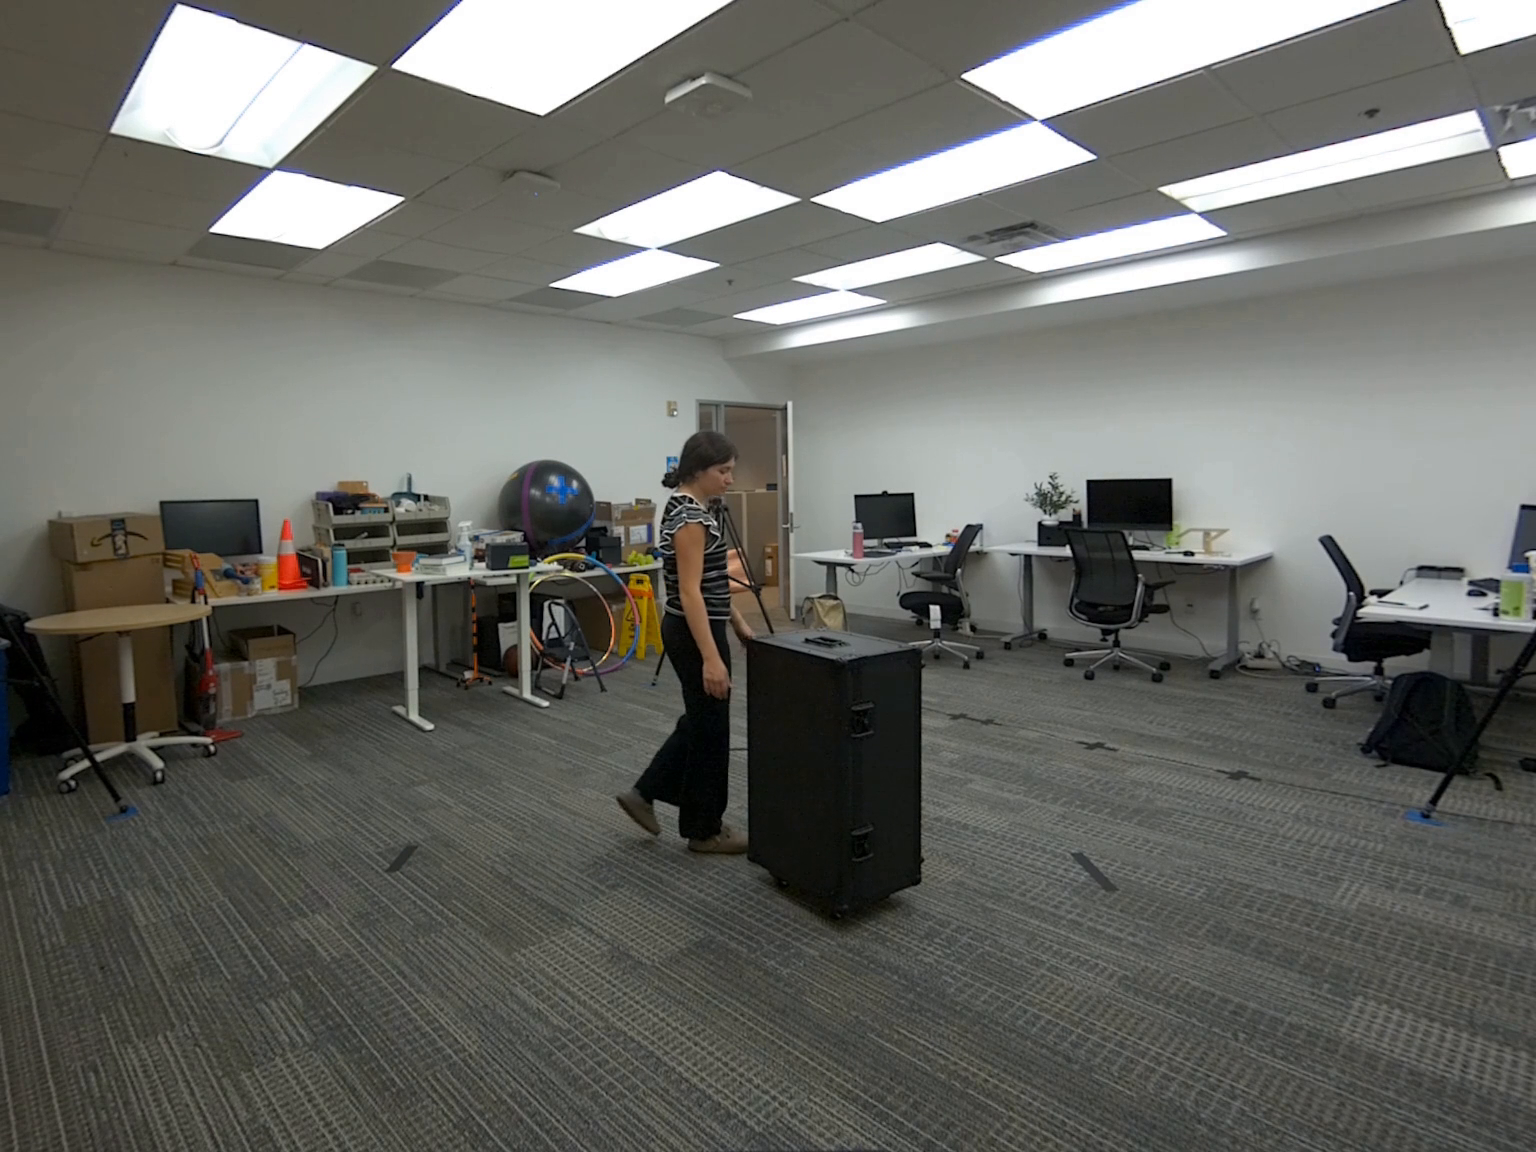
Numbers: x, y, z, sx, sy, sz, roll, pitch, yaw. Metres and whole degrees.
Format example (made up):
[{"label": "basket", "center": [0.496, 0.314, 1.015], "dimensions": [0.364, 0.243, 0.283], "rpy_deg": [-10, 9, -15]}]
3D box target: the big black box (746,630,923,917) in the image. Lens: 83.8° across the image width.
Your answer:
[{"label": "big black box", "center": [0.221, 0.643, 2.867], "dimensions": [0.386, 0.859, 0.536], "rpy_deg": [-2, 4, -36]}]
